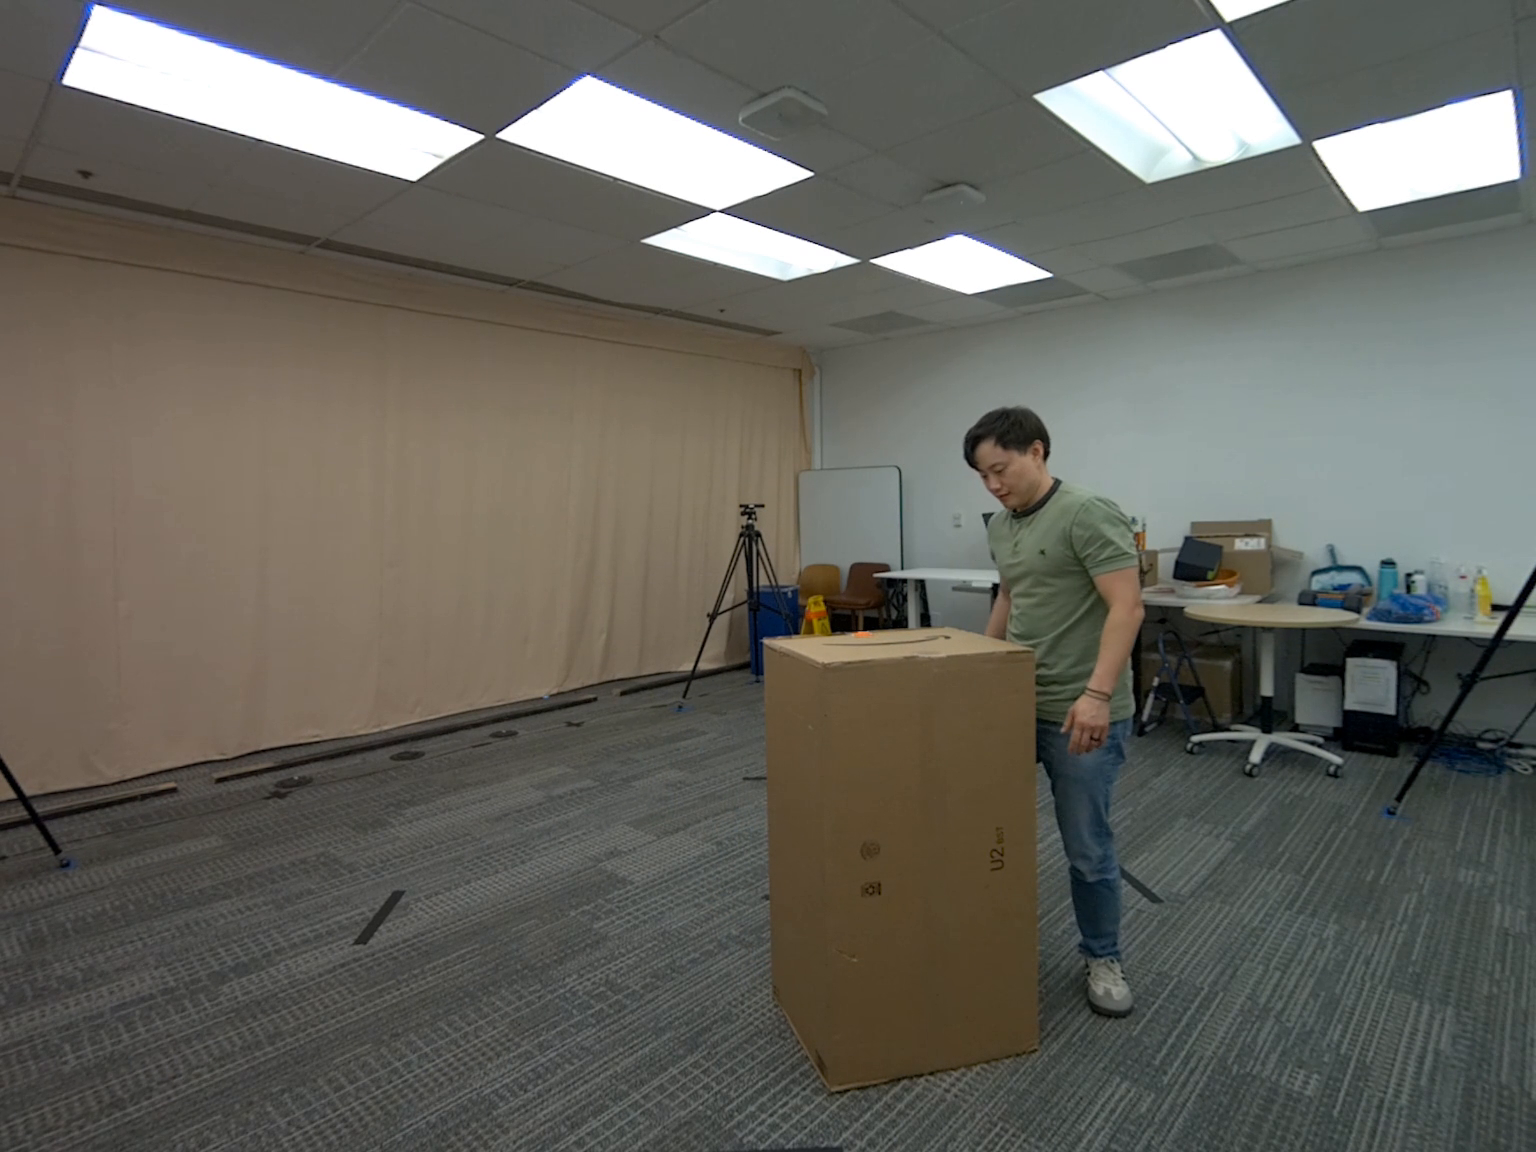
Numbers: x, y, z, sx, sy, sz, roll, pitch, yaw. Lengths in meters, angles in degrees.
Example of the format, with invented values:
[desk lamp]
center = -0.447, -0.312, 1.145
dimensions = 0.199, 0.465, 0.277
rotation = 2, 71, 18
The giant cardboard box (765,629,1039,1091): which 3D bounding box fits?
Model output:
[giant cardboard box]
center = 0.339, 0.689, 2.229
dimensions = 0.568, 1.024, 0.434
rotation = -2, 3, -16
